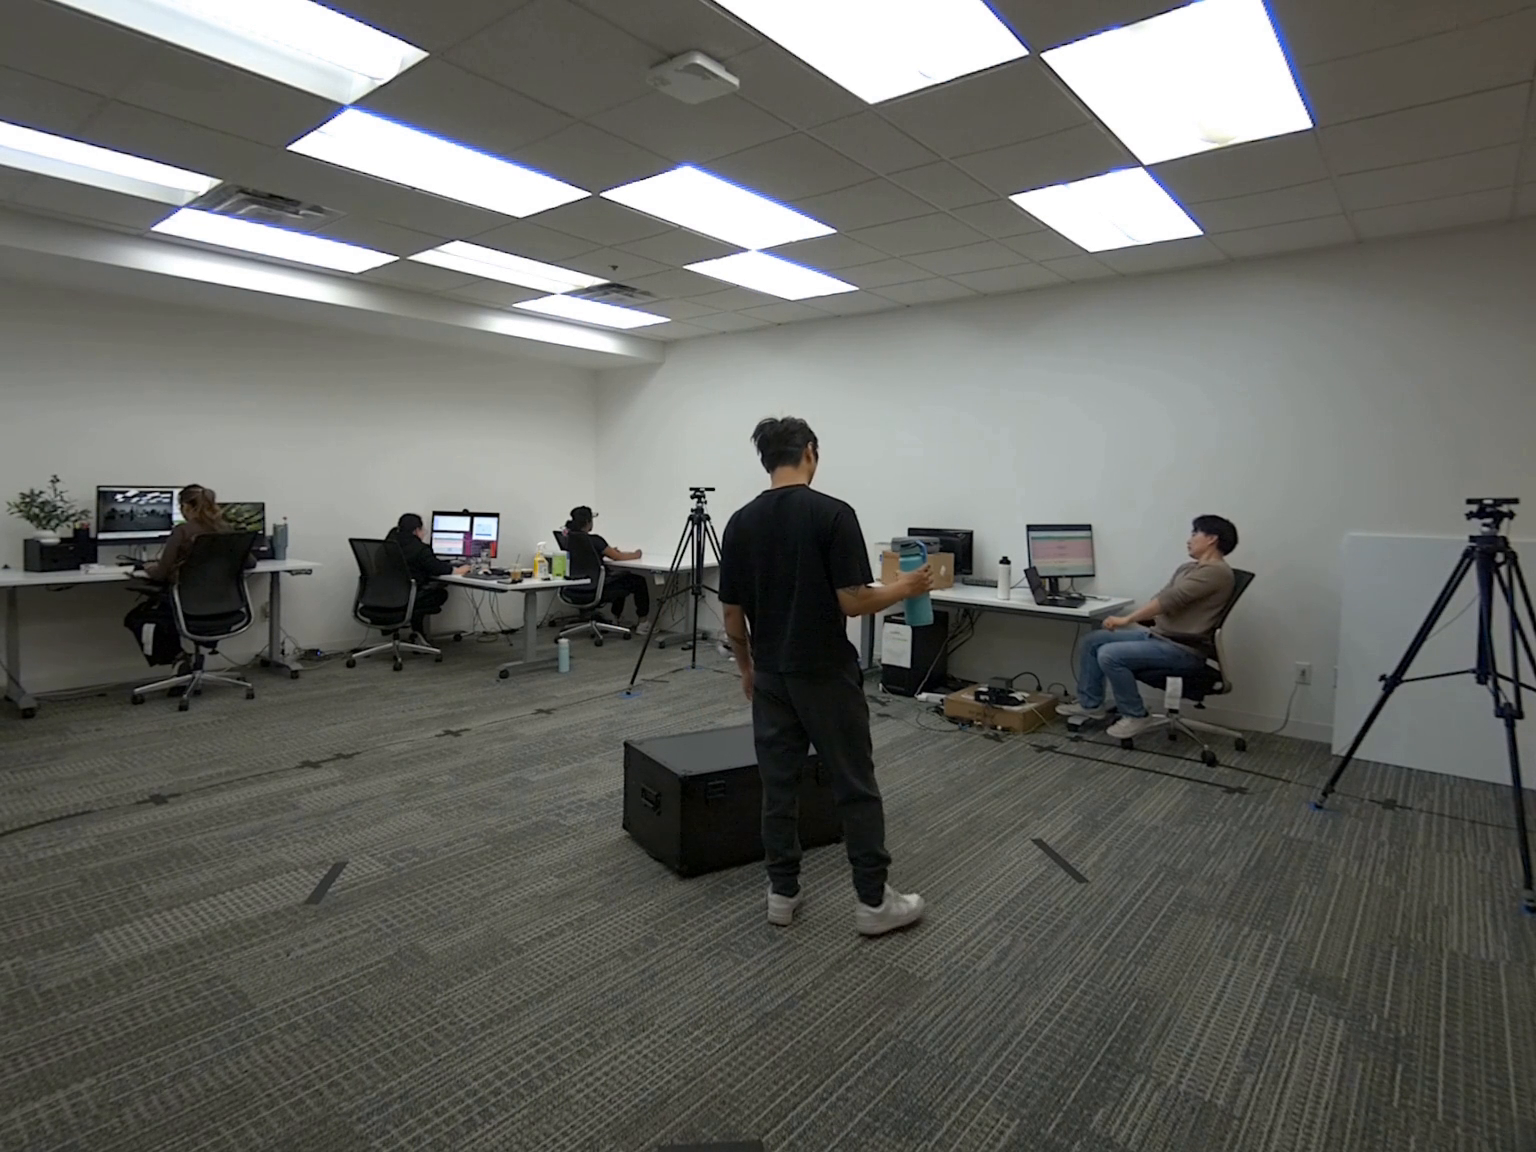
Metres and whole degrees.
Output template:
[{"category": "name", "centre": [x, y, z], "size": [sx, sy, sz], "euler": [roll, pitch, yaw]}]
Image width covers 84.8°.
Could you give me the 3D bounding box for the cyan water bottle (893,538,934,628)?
[{"category": "cyan water bottle", "centre": [0.484, 0.021, 2.803], "size": [0.092, 0.283, 0.092], "euler": [-5, 0, -2]}]
